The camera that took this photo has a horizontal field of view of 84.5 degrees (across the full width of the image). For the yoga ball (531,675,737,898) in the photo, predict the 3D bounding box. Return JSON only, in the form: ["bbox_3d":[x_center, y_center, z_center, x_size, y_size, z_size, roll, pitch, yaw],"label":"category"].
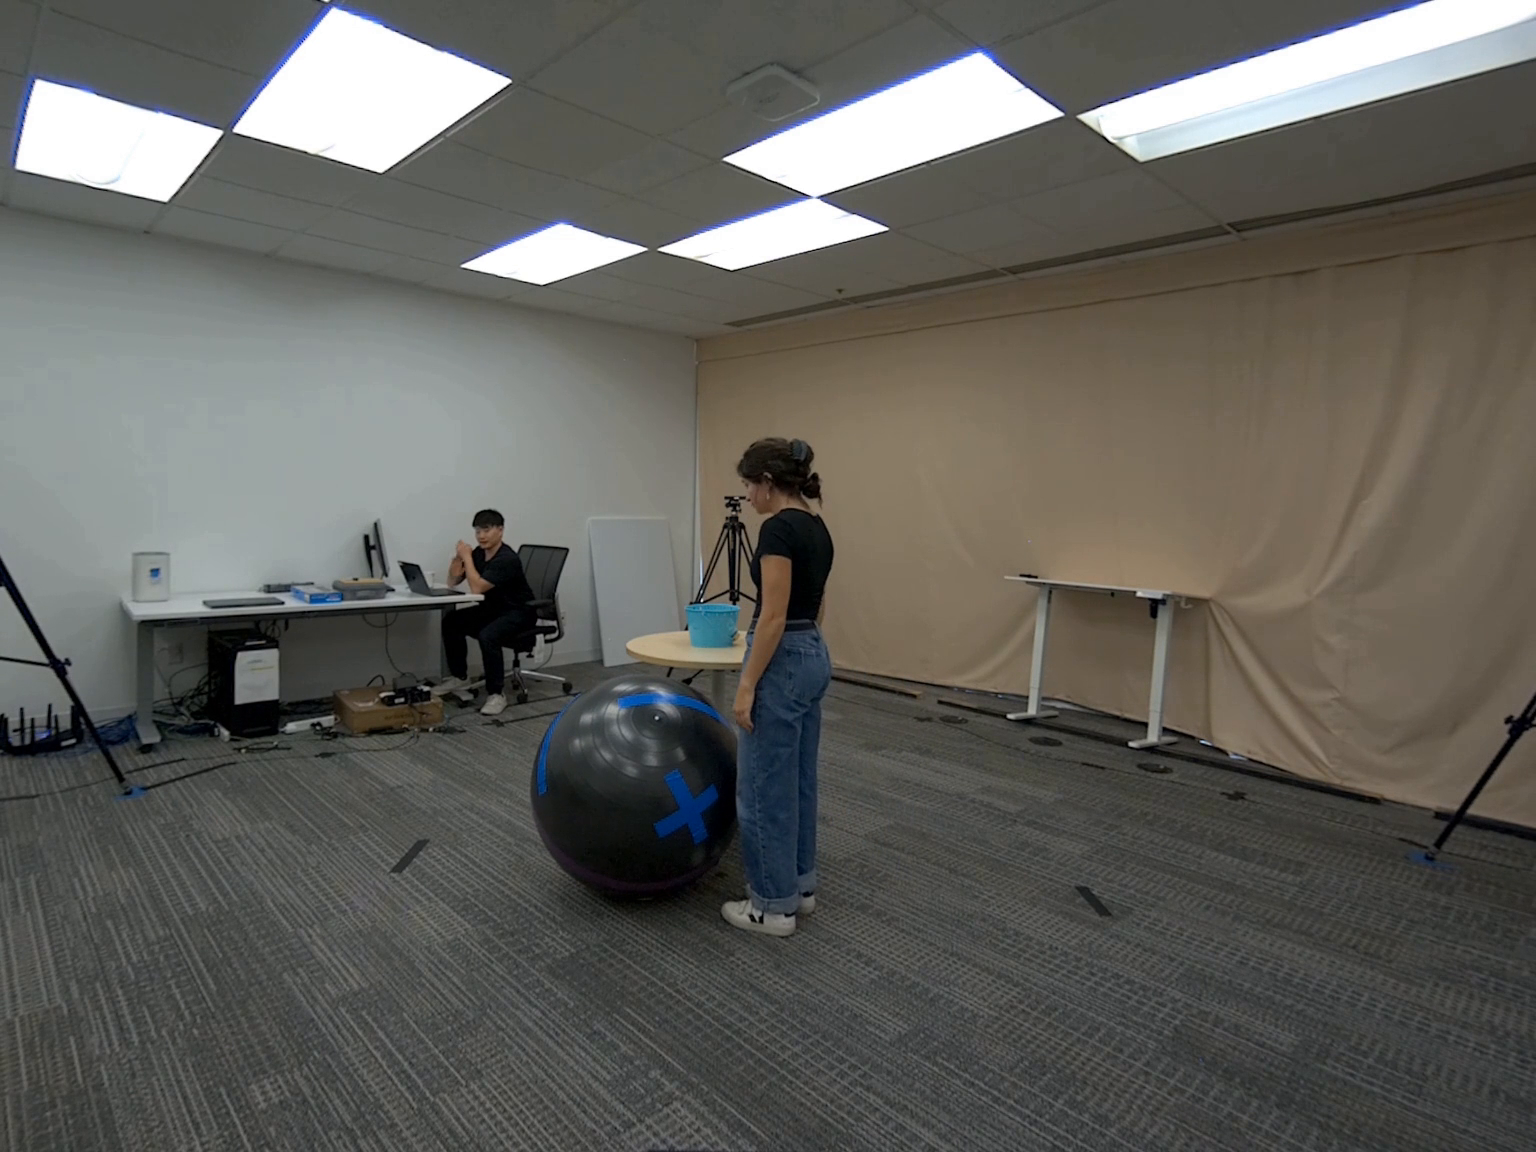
[{"bbox_3d":[-0.463,0.749,2.979,0.757,0.756,0.761,1,4,-1],"label":"yoga ball"}]
